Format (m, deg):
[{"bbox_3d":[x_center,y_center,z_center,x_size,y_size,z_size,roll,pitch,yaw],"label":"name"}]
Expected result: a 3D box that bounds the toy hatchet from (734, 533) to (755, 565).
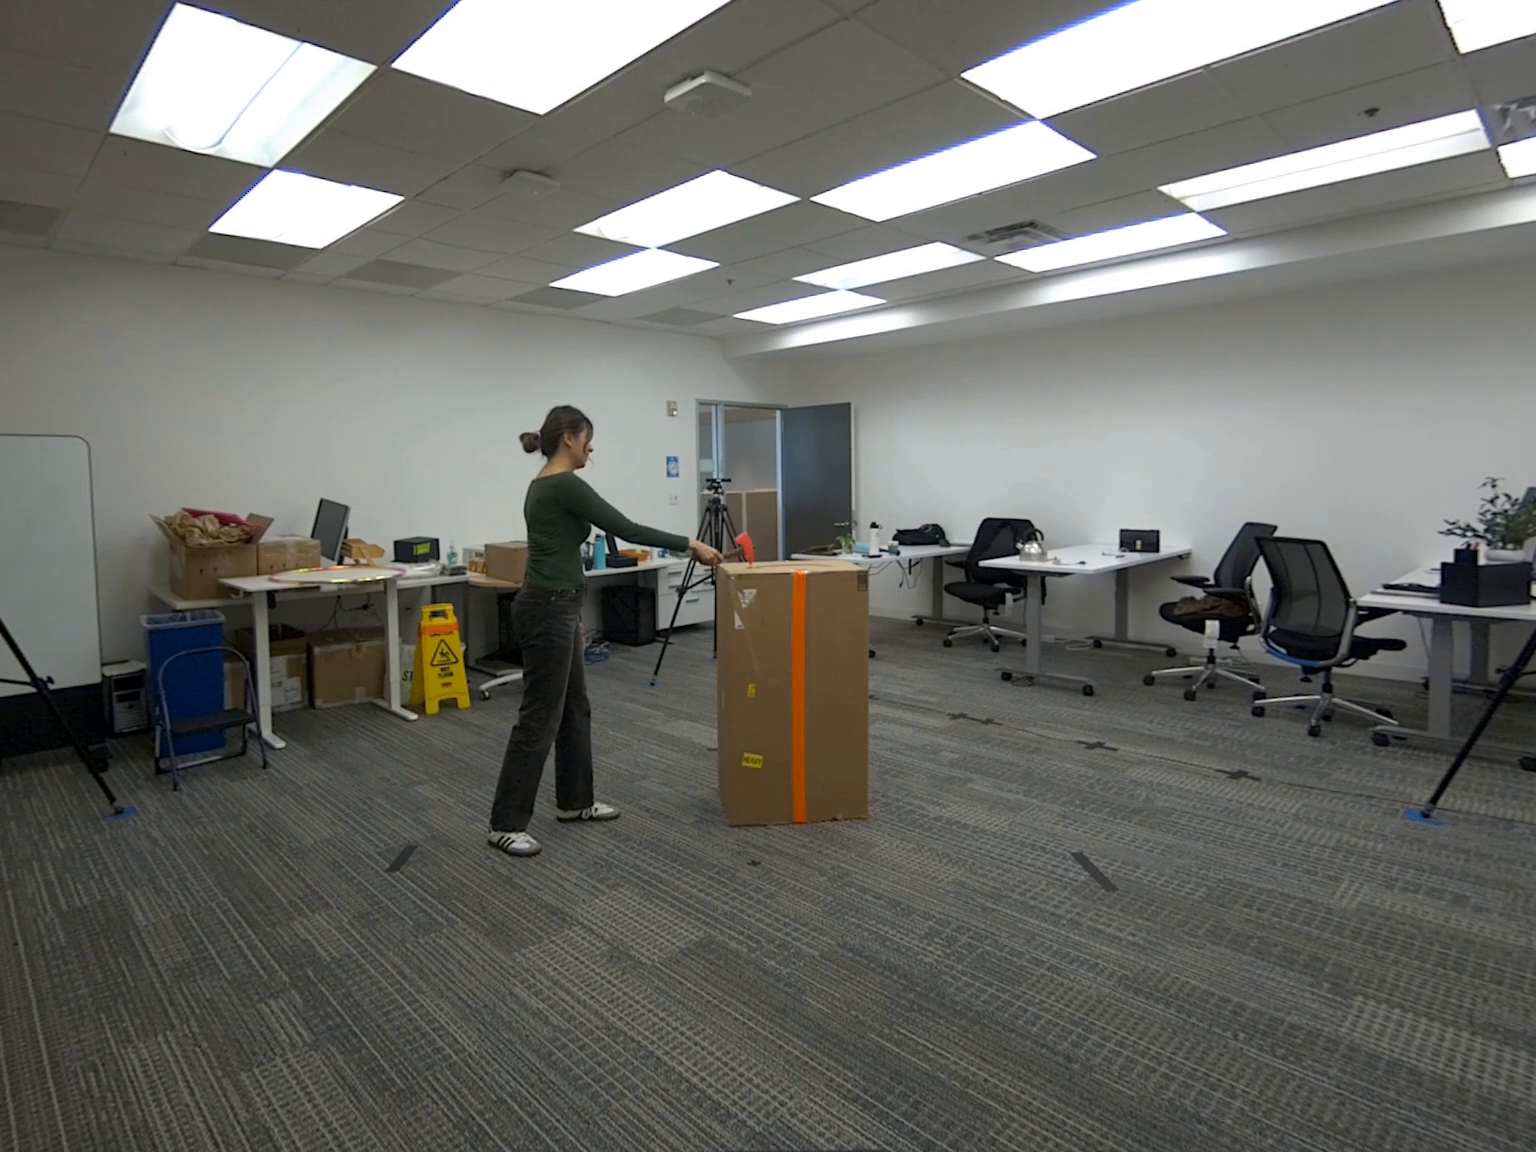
[{"bbox_3d":[-0.175,-0.139,3.424,0.265,0.130,0.030,4,11,-18],"label":"toy hatchet"}]
